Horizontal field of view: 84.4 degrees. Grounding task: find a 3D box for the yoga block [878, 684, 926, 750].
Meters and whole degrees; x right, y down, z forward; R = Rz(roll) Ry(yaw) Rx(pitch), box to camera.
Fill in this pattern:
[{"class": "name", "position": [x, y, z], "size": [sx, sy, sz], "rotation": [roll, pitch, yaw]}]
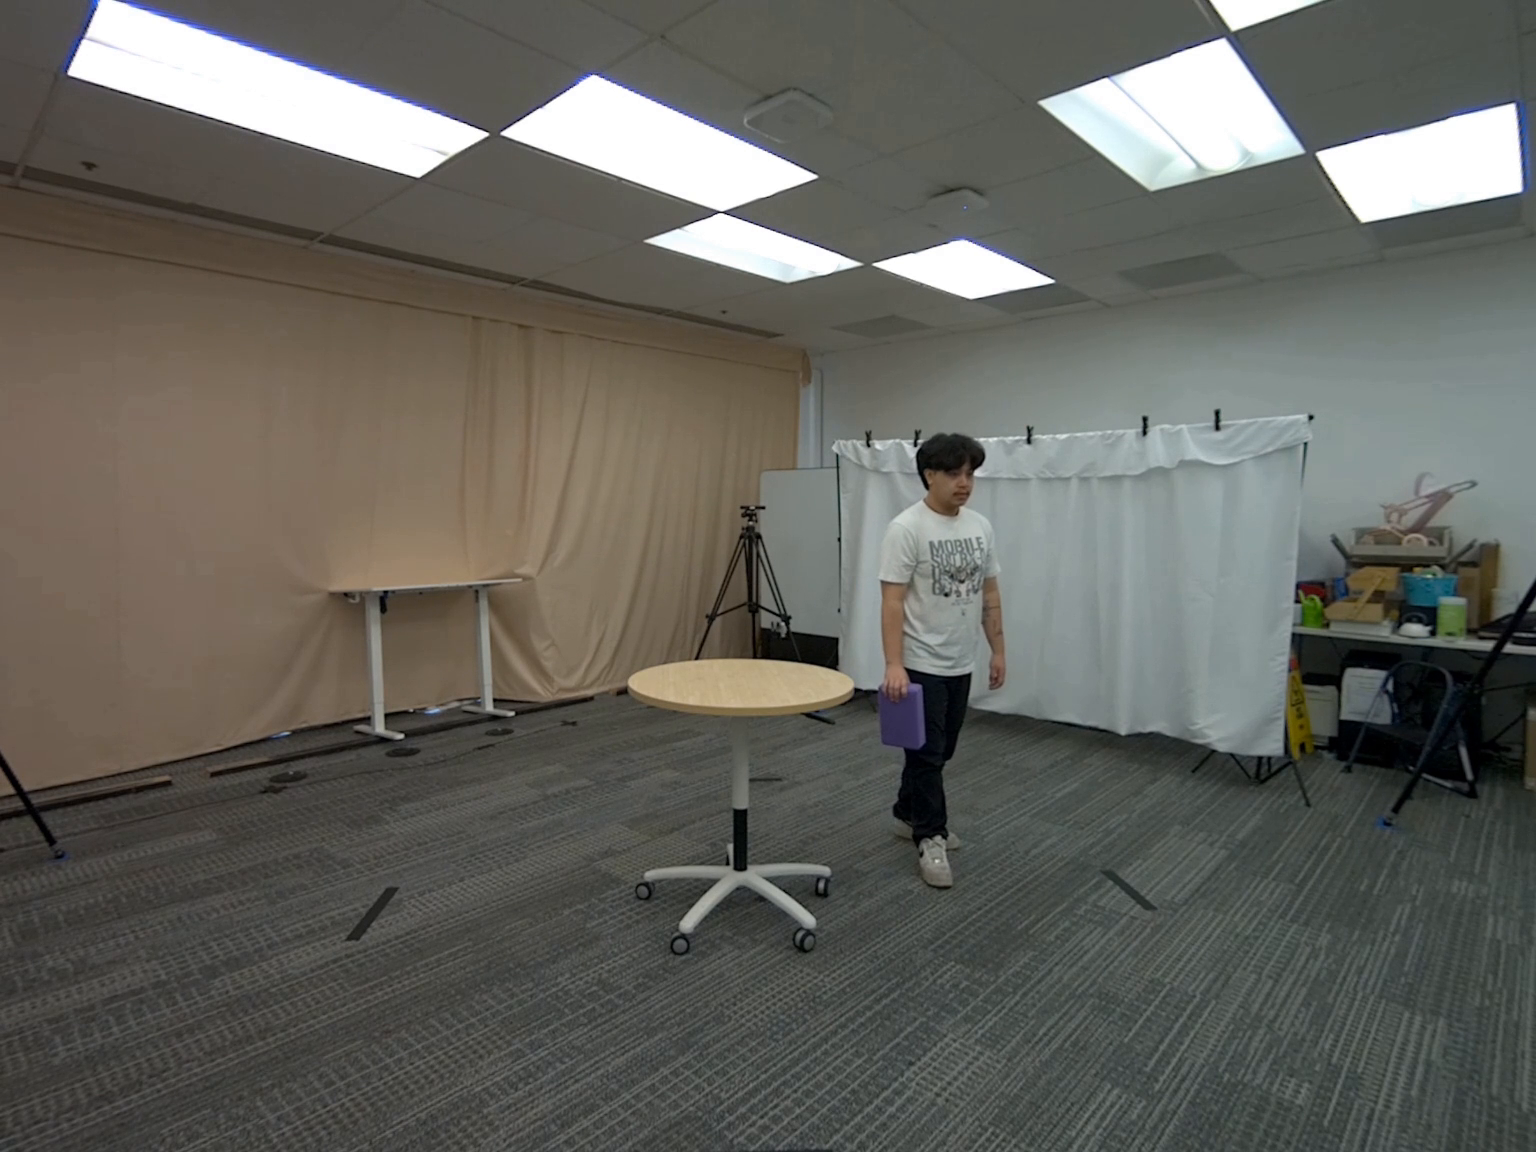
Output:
[{"class": "yoga block", "position": [0.494, 0.510, 3.095], "size": [0.153, 0.228, 0.074], "rotation": [1, 8, 35]}]
